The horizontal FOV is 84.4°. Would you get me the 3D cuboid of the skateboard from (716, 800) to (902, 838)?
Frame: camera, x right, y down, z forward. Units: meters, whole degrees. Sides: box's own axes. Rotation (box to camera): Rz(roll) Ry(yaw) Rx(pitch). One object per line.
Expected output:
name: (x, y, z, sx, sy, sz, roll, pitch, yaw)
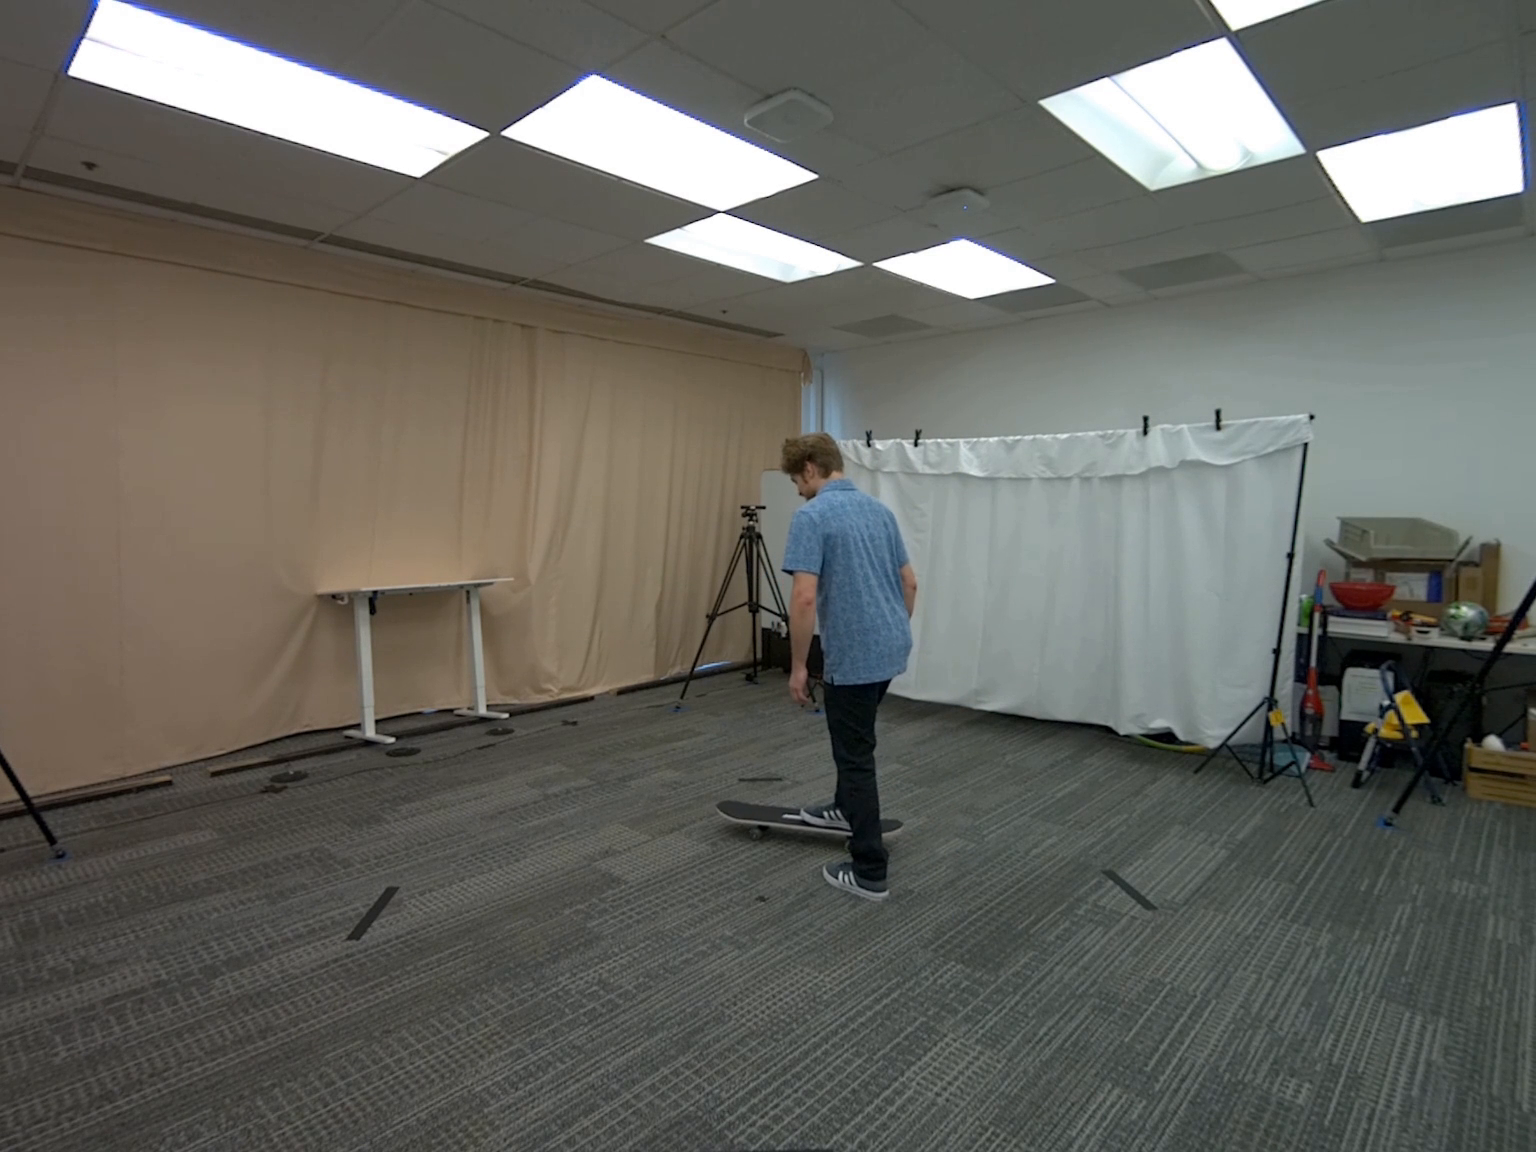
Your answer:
skateboard: (0.156, 1.039, 3.507, 0.800, 0.110, 0.190, 1, 5, 17)
